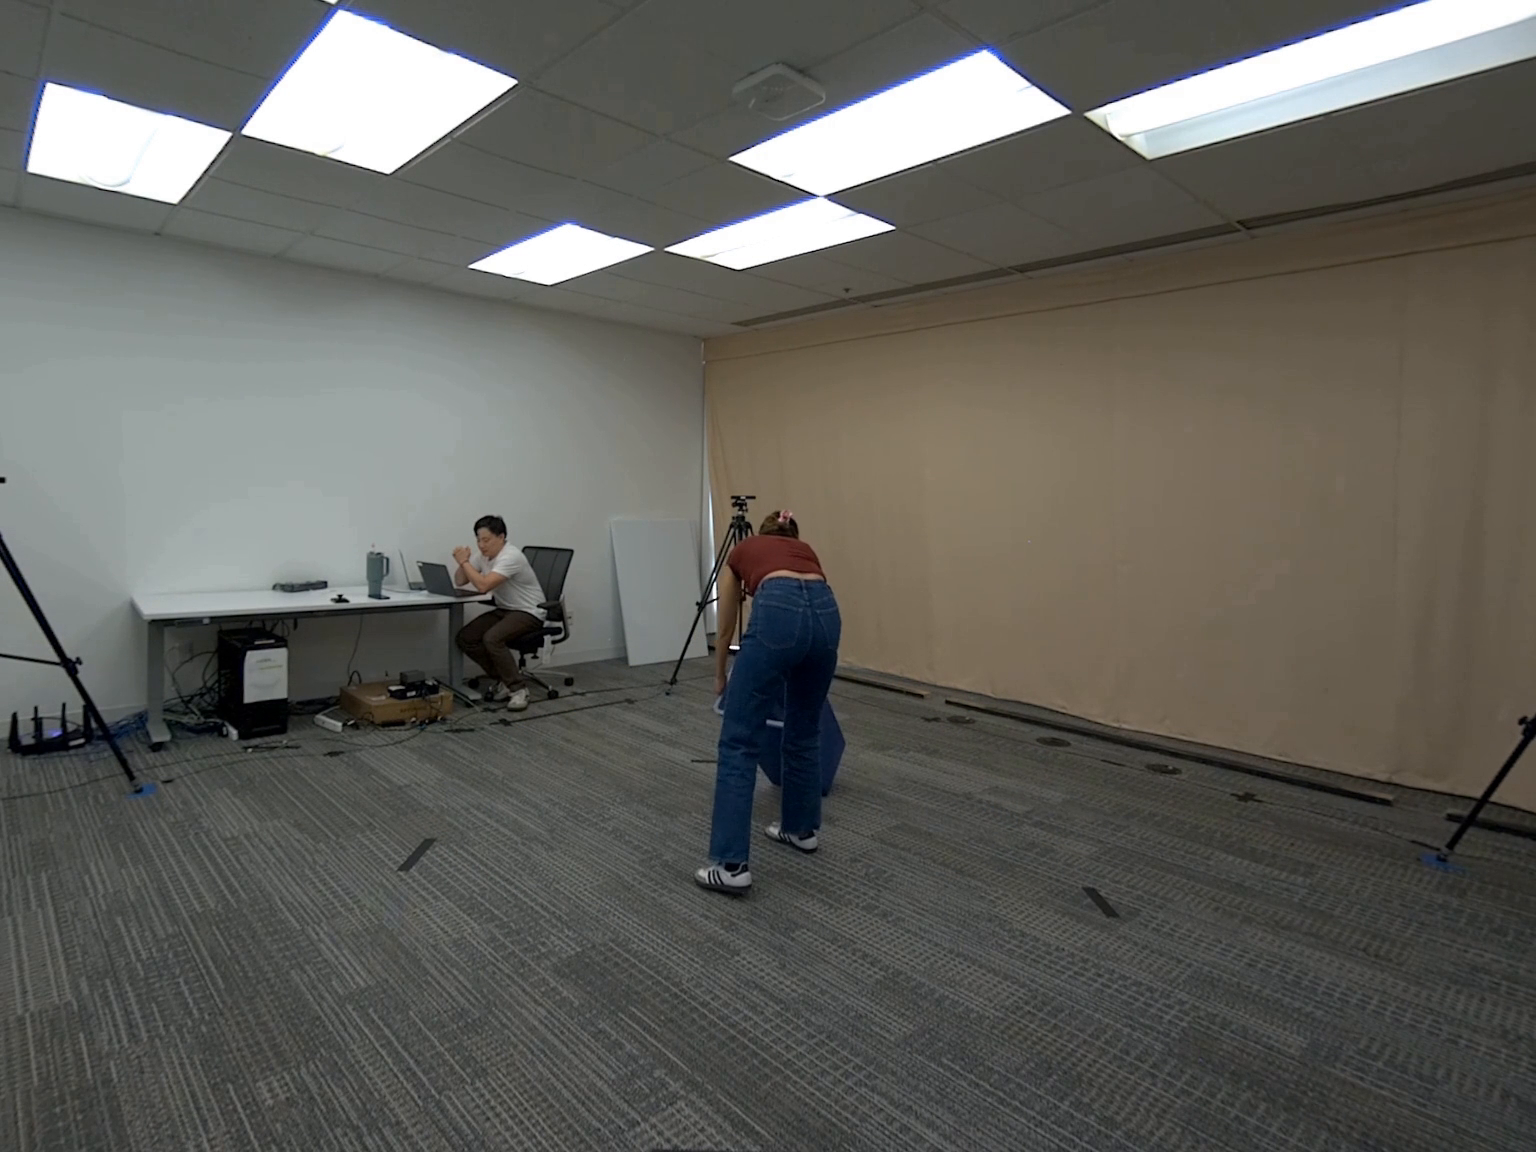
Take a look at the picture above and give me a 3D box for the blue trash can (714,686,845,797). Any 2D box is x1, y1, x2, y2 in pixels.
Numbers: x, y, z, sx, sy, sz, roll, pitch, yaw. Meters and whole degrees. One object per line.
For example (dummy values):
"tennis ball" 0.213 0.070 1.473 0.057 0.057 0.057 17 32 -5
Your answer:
"blue trash can" 0.075 0.693 3.867 0.386 0.377 0.692 5 -39 28
